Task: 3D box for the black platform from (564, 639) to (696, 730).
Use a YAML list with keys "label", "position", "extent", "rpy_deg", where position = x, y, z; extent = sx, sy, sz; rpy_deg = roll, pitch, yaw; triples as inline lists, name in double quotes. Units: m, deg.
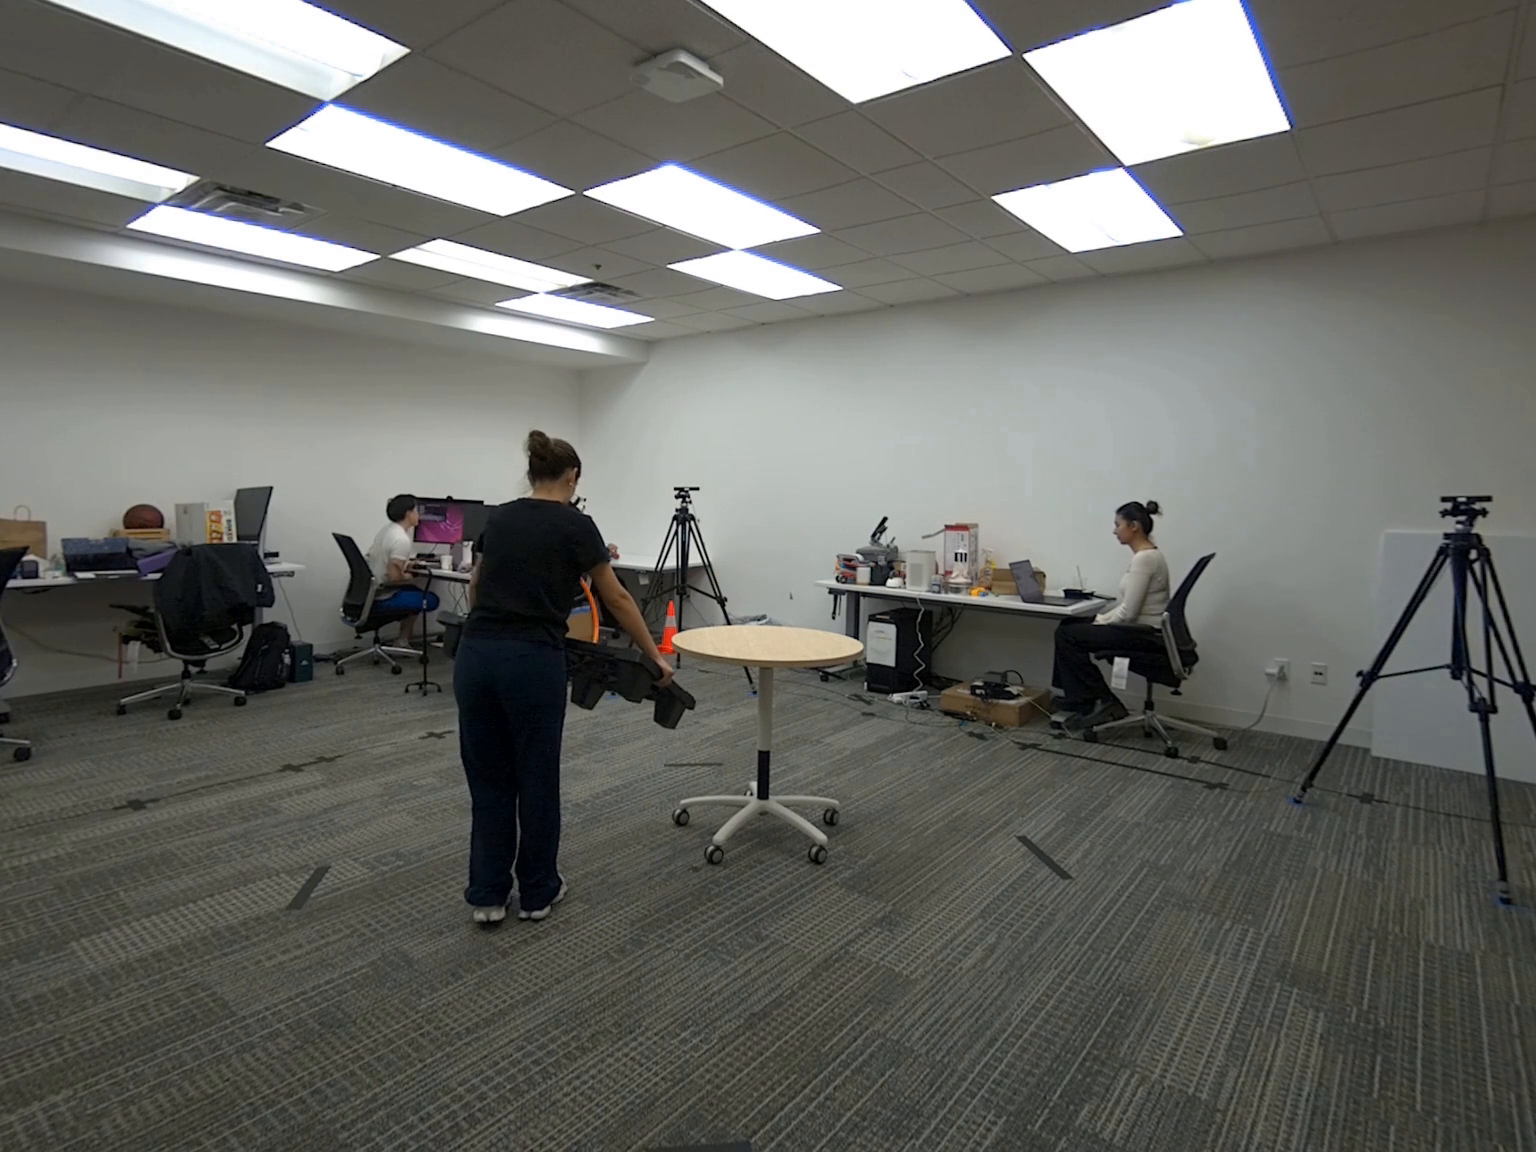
- label: "black platform"
  position: [-0.704, 0.352, 3.052]
  extent: [0.825, 0.145, 0.584]
  rpy_deg: [9, -20, 20]
